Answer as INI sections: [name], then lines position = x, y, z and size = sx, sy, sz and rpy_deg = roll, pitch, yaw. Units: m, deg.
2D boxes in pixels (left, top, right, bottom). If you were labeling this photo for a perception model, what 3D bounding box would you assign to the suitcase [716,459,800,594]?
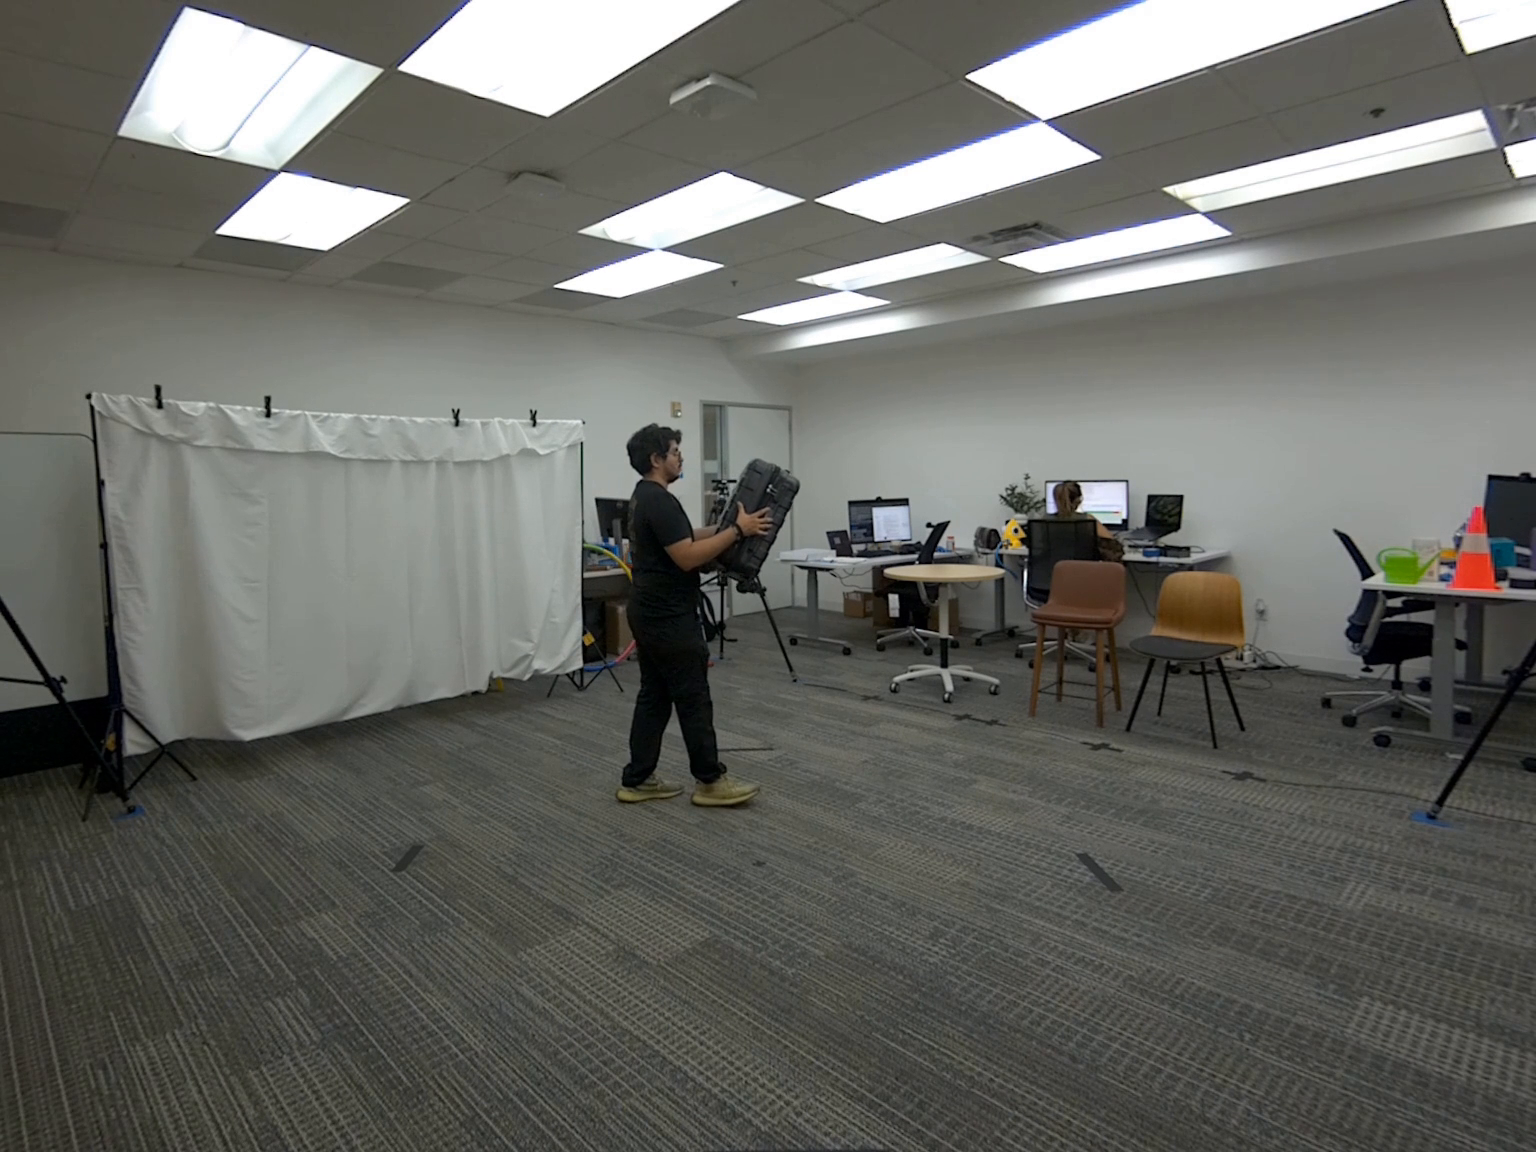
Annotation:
[suitcase]
position = -0.082, -0.233, 3.762
size = 0.247, 0.550, 0.376
rpy_deg = 26, -4, -4
